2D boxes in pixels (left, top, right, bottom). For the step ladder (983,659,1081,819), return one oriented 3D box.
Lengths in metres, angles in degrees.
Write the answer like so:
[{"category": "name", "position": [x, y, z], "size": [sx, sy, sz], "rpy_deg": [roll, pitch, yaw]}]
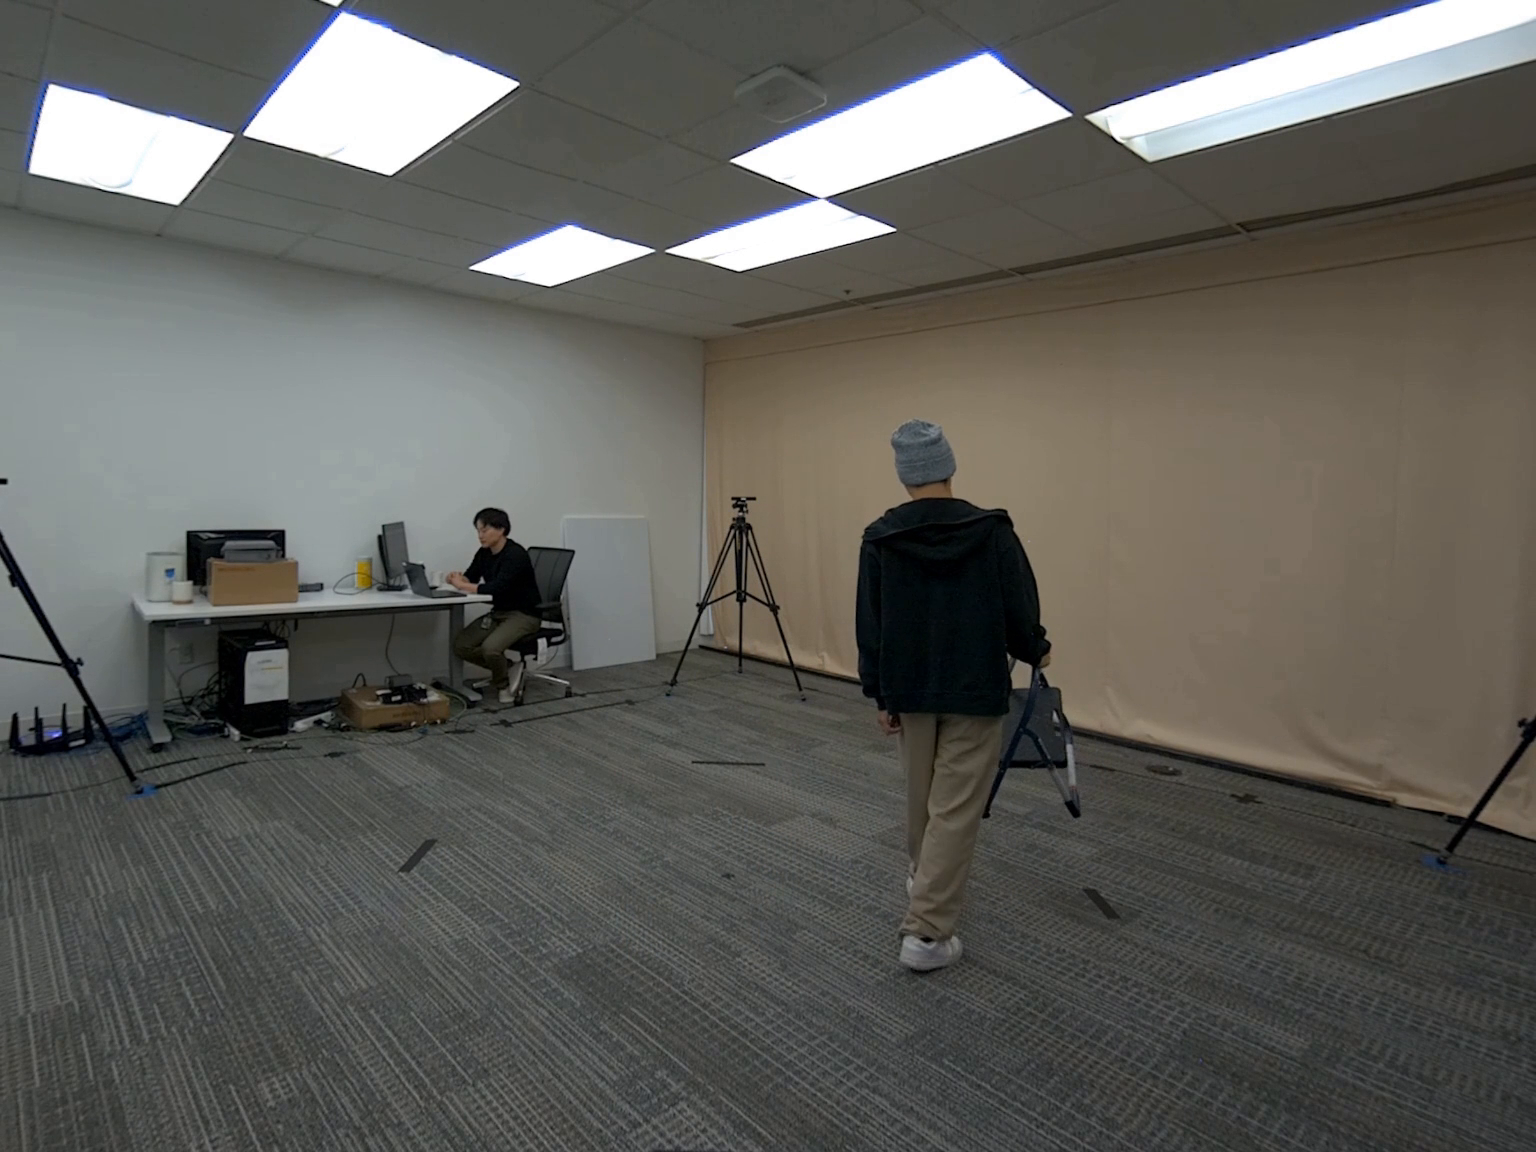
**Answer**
[{"category": "step ladder", "position": [0.880, 0.496, 2.984], "size": [0.354, 0.591, 0.436], "rpy_deg": [-6, 35, 18]}]
